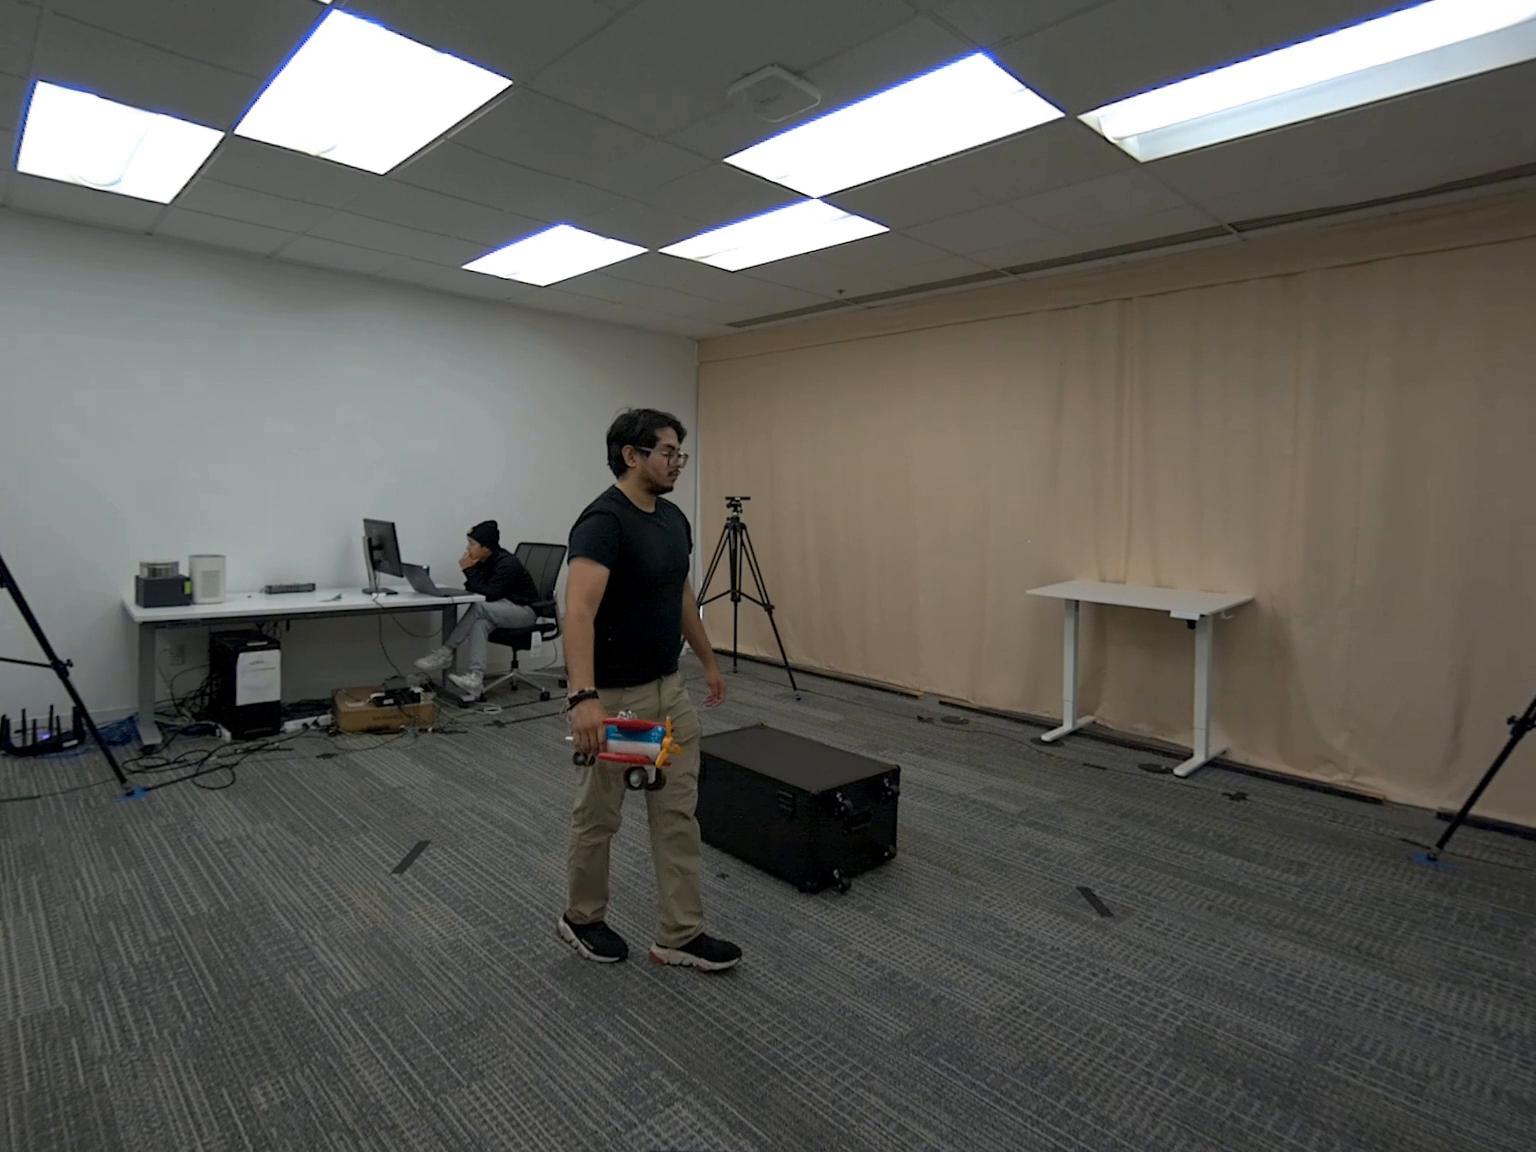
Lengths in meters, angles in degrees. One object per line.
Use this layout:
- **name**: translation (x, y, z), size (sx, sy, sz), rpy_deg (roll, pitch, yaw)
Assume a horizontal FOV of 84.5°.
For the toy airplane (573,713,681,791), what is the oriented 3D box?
- **toy airplane**: translation (-0.357, 0.399, 1.964), size (0.259, 0.157, 0.250), rpy_deg (19, -7, -1)
